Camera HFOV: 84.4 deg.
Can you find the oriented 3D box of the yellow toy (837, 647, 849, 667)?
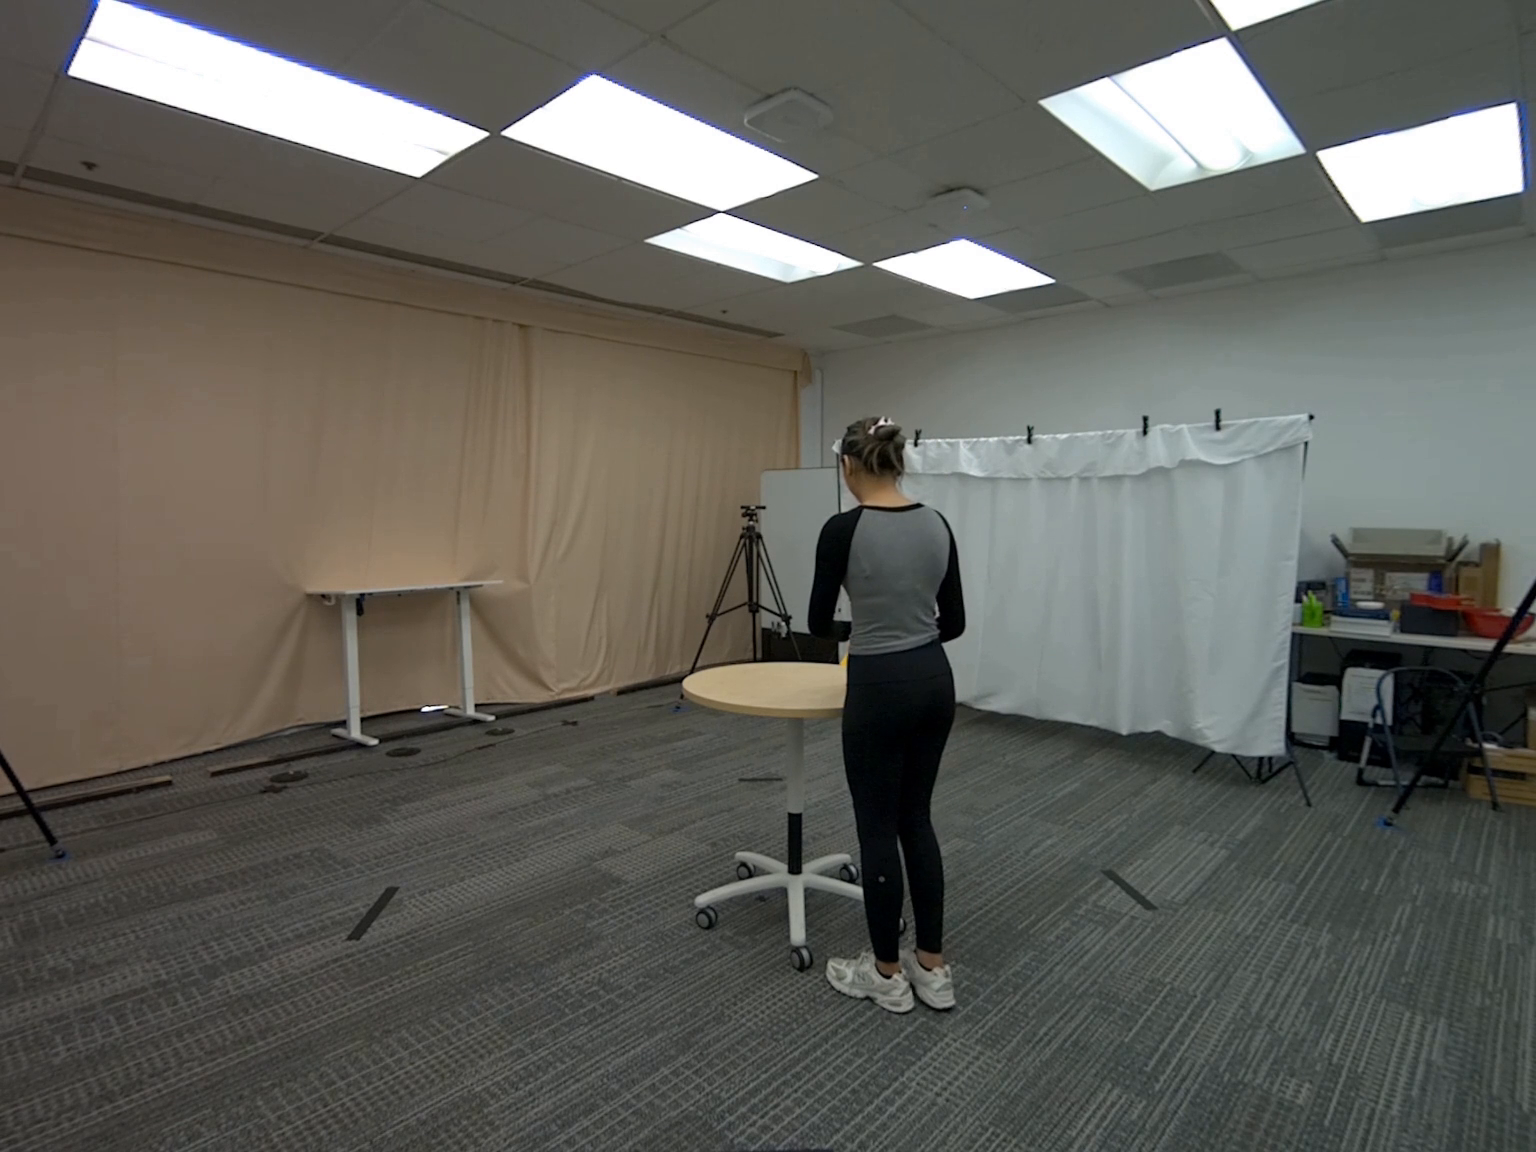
[{"bbox_3d":[0.379,0.259,2.707,0.188,0.230,0.211,-1,4,-32],"label":"yellow toy"}]
